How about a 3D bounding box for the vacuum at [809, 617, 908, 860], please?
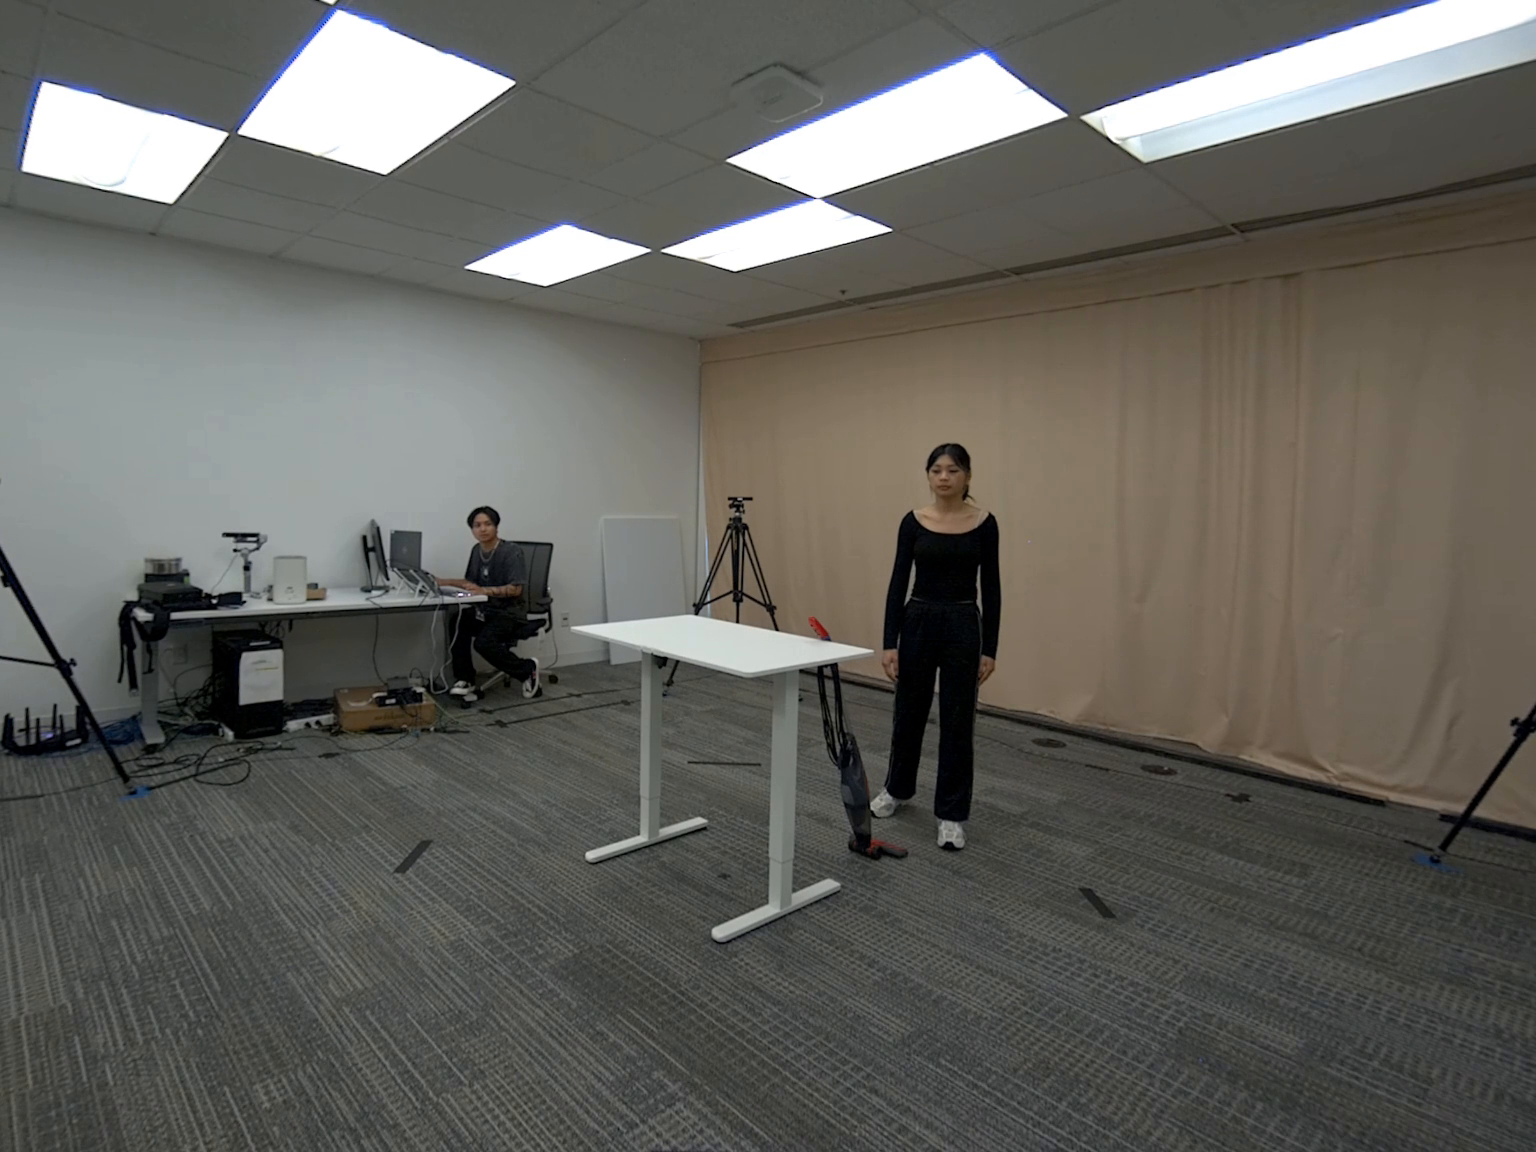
[{"bbox_3d":[0.288,0.630,3.185,0.259,1.031,0.143,8,30,45],"label":"vacuum"}]
